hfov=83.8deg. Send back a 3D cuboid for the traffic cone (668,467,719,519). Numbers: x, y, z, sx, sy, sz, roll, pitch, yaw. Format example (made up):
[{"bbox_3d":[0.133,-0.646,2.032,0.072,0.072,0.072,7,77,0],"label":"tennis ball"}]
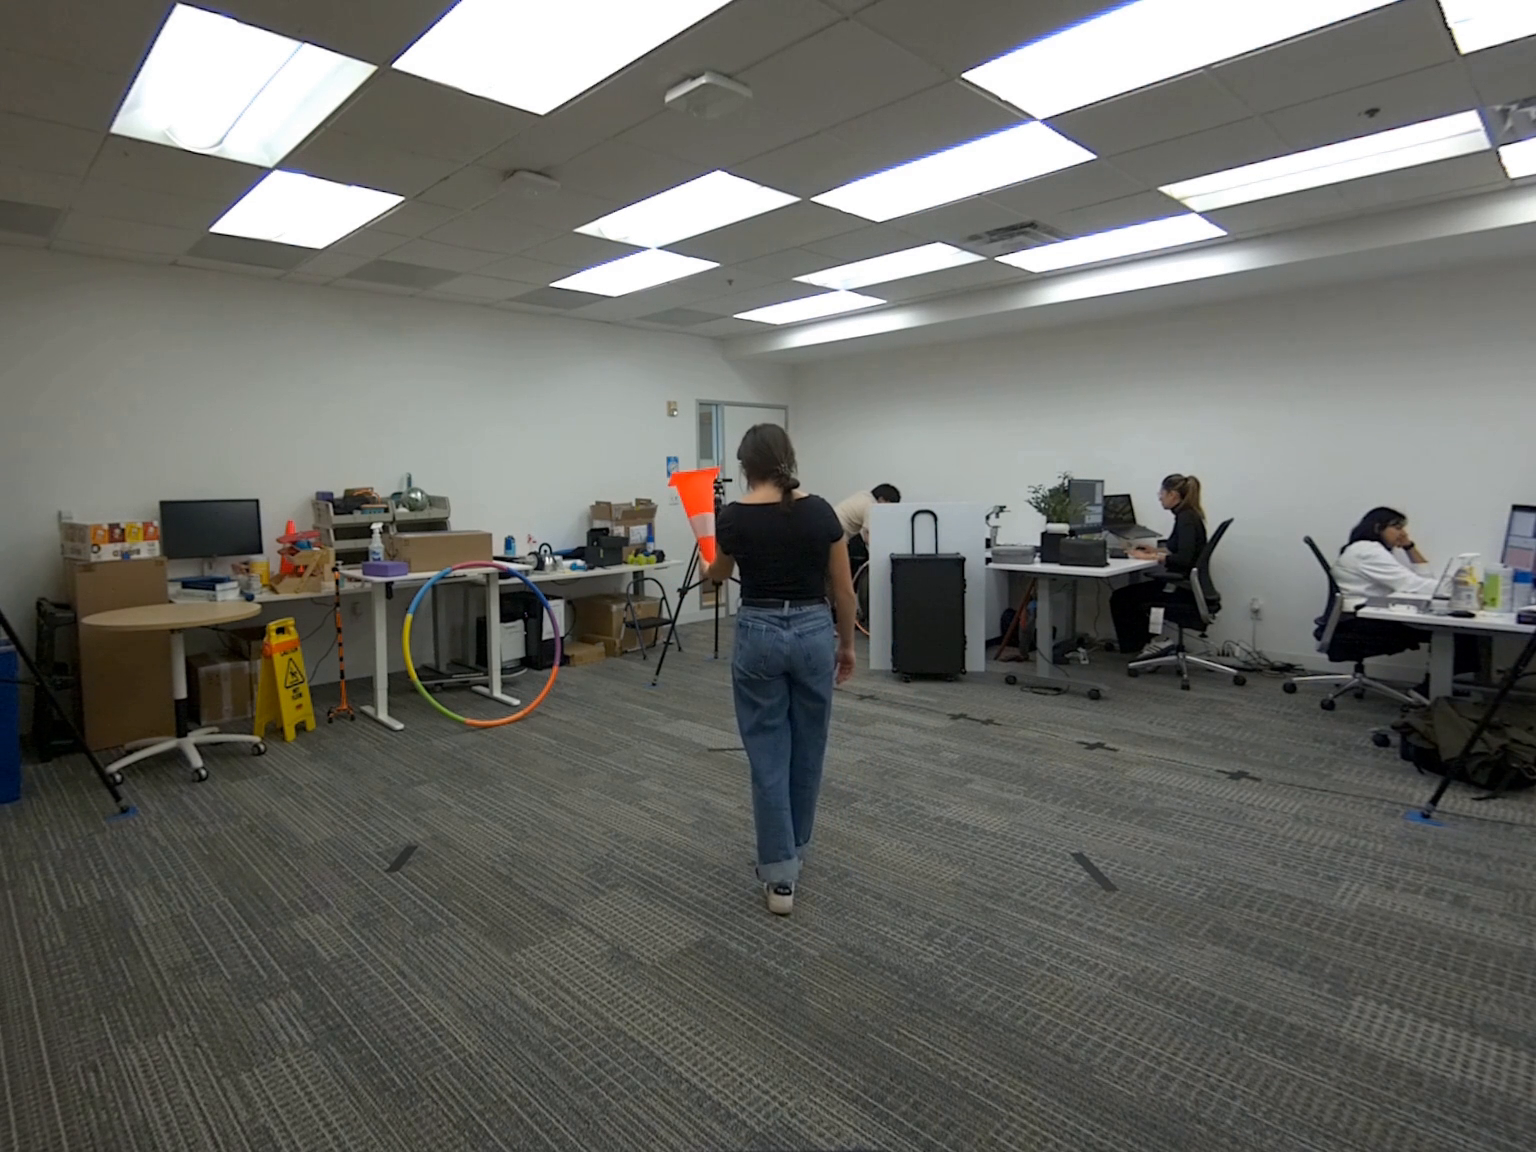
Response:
[{"bbox_3d":[-0.252,-0.213,3.423,0.203,0.388,0.203,-9,-11,-14],"label":"traffic cone"}]
